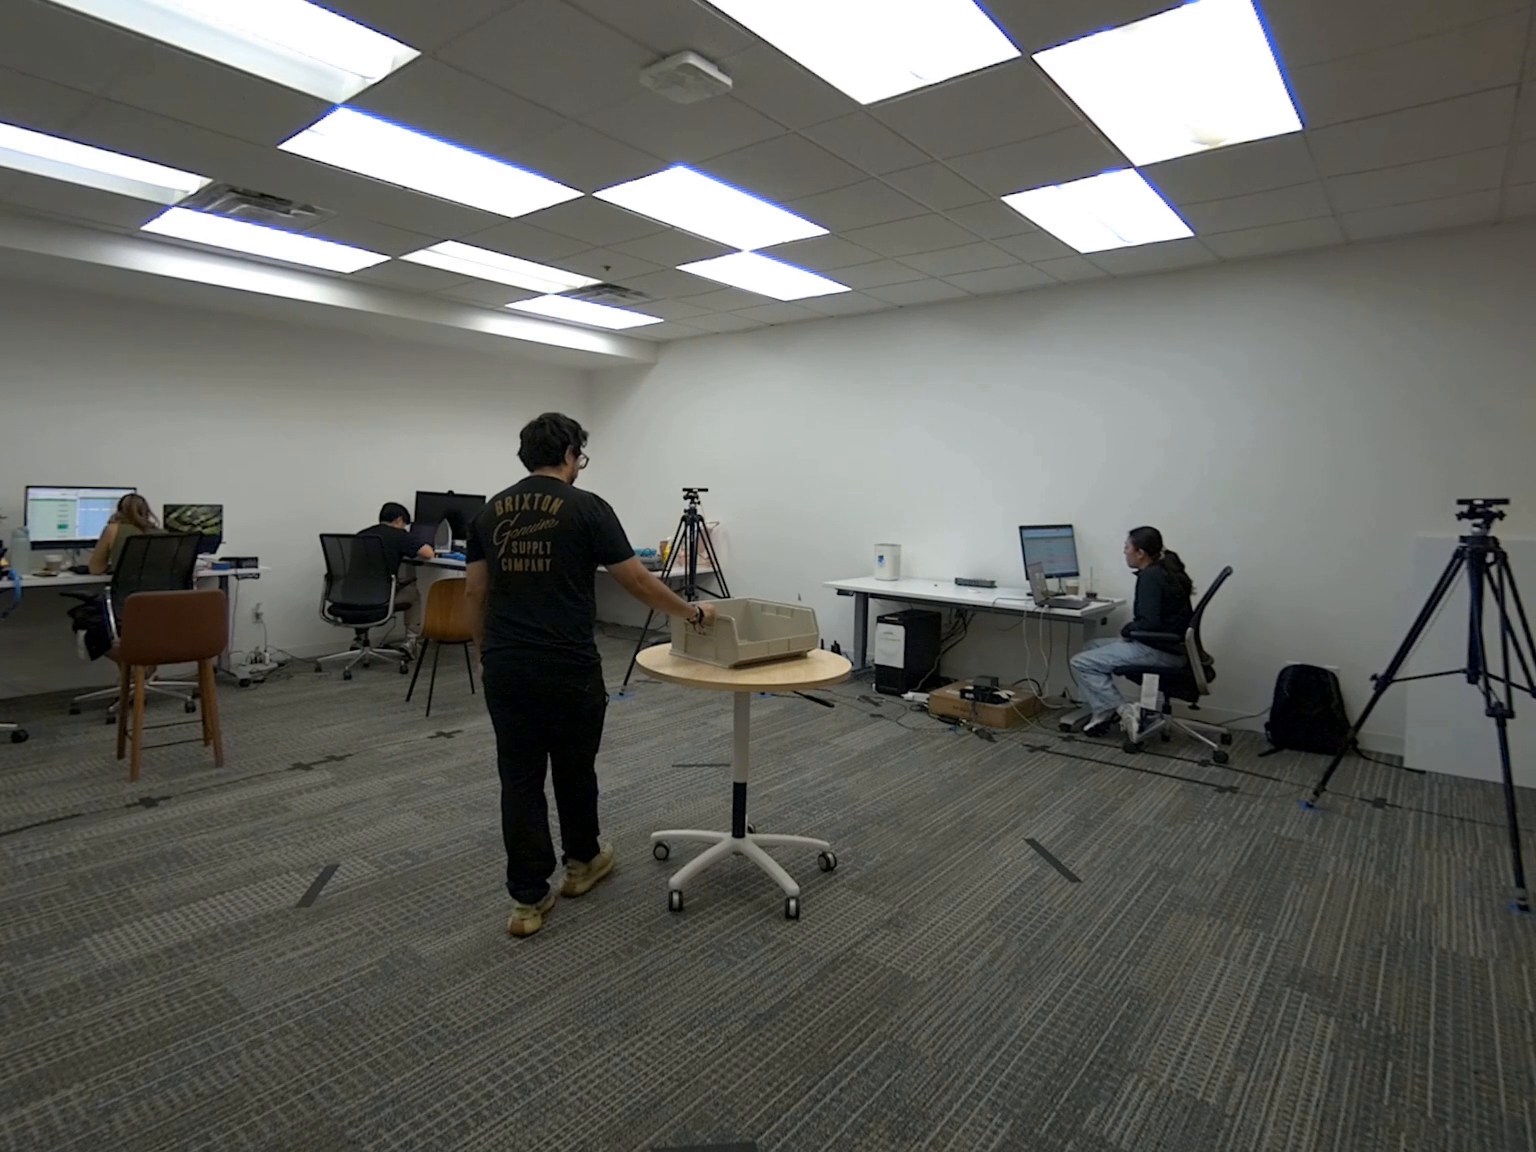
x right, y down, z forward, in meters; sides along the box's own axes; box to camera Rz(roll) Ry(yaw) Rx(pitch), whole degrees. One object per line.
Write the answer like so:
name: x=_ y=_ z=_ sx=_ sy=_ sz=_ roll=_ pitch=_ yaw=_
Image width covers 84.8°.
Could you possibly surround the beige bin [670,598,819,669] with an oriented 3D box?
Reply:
beige bin: x=-0.100 y=0.197 z=3.099 sx=0.390 sy=0.188 sz=0.410 roll=3 pitch=6 yaw=45
